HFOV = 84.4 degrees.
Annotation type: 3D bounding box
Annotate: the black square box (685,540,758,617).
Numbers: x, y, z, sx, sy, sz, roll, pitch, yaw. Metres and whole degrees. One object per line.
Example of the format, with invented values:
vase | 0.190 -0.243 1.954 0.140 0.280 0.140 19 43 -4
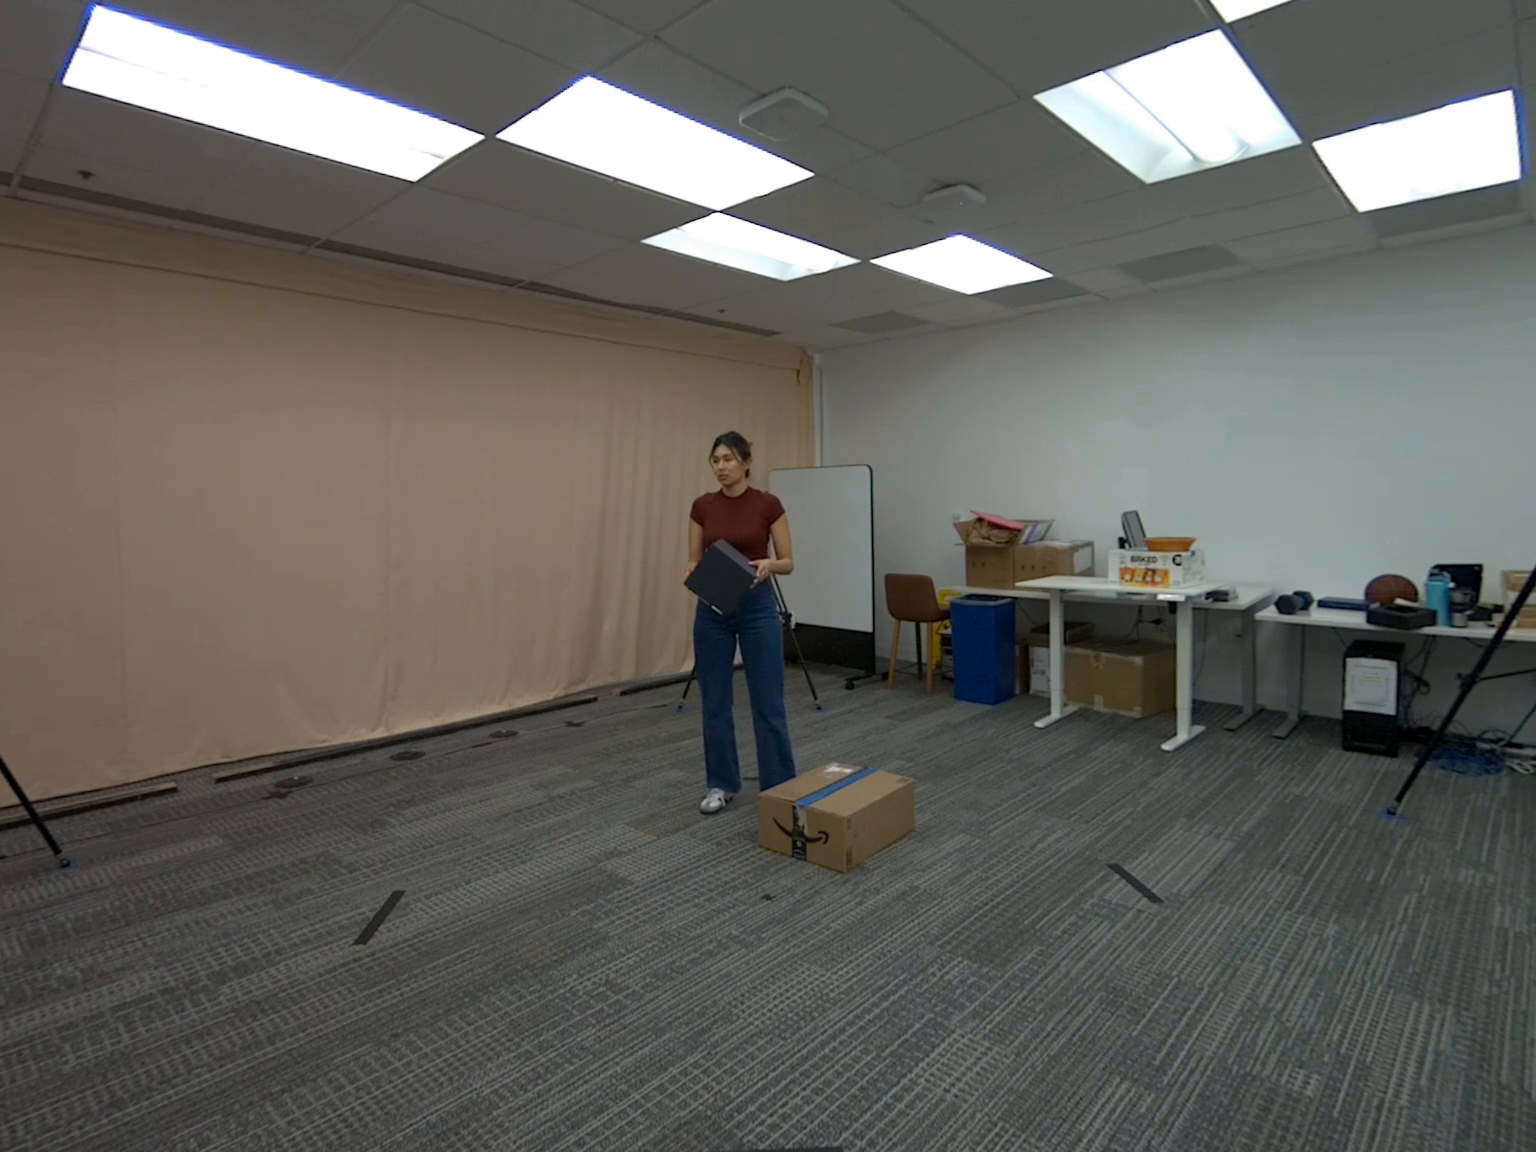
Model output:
black square box | -0.186 0.005 3.523 0.229 0.217 0.154 39 14 5
